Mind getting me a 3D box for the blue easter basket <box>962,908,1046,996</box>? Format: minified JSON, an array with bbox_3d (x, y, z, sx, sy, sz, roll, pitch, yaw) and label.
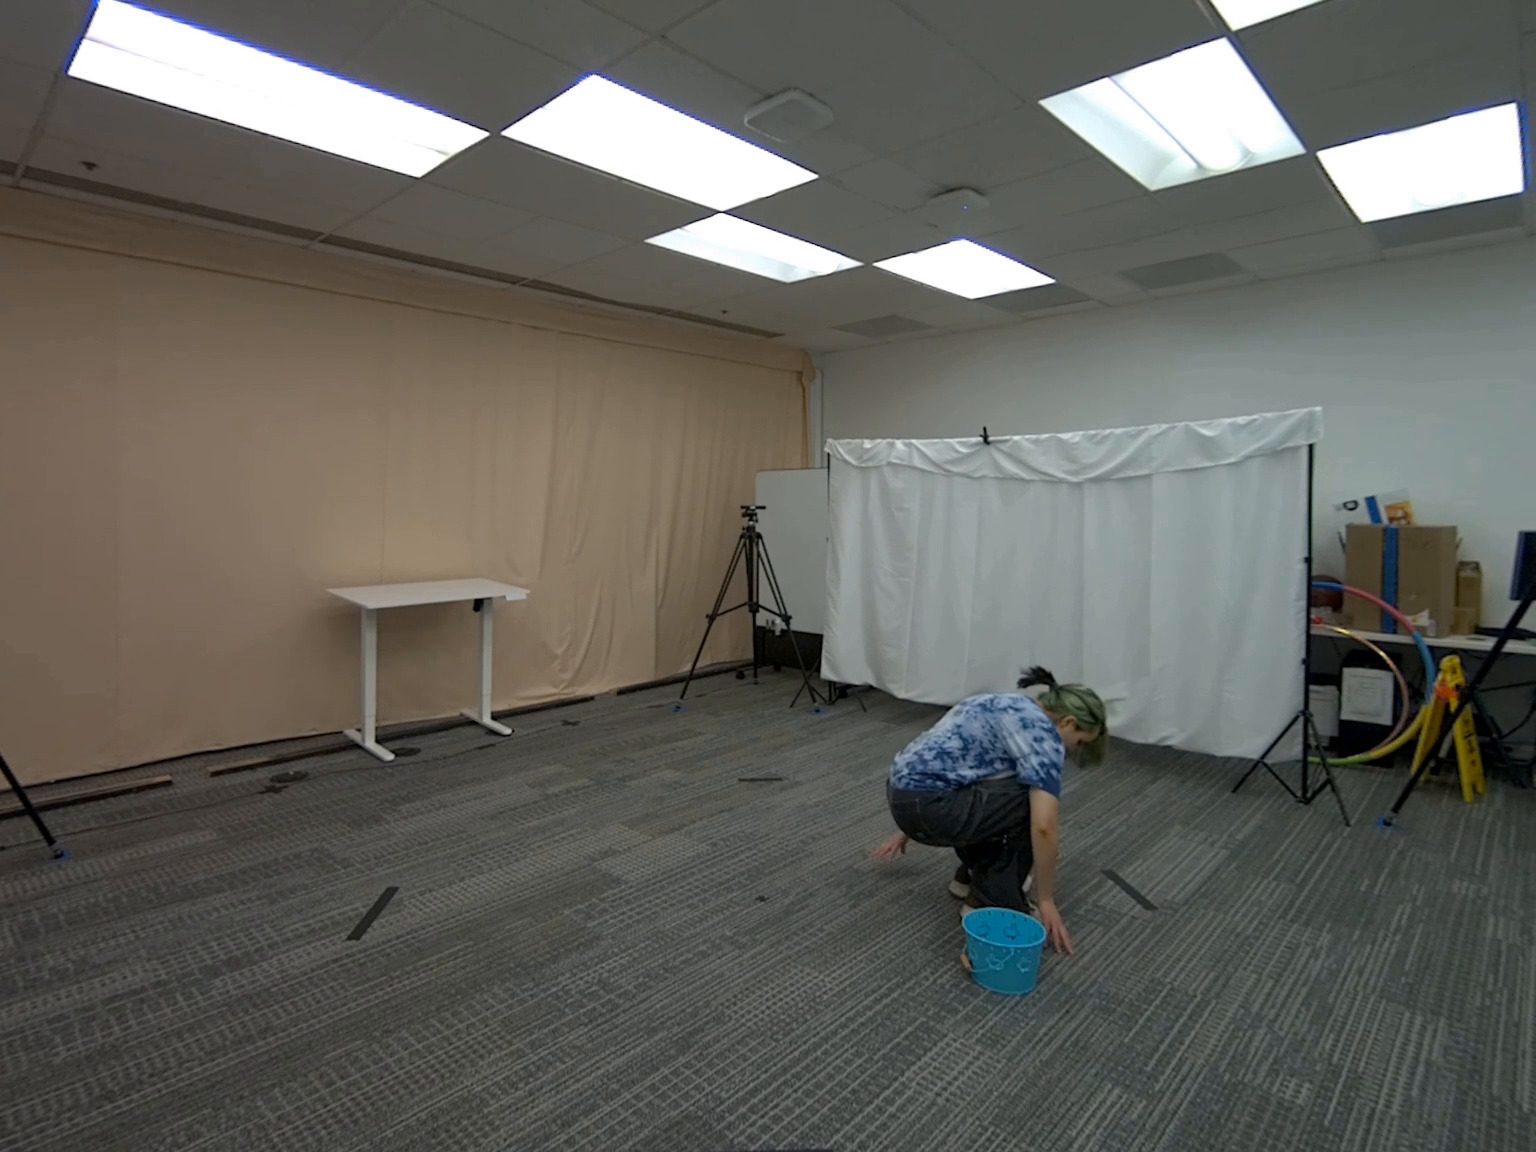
[{"bbox_3d":[0.697,1.101,2.481,0.243,0.155,0.244,1,4,-2],"label":"blue easter basket"}]
